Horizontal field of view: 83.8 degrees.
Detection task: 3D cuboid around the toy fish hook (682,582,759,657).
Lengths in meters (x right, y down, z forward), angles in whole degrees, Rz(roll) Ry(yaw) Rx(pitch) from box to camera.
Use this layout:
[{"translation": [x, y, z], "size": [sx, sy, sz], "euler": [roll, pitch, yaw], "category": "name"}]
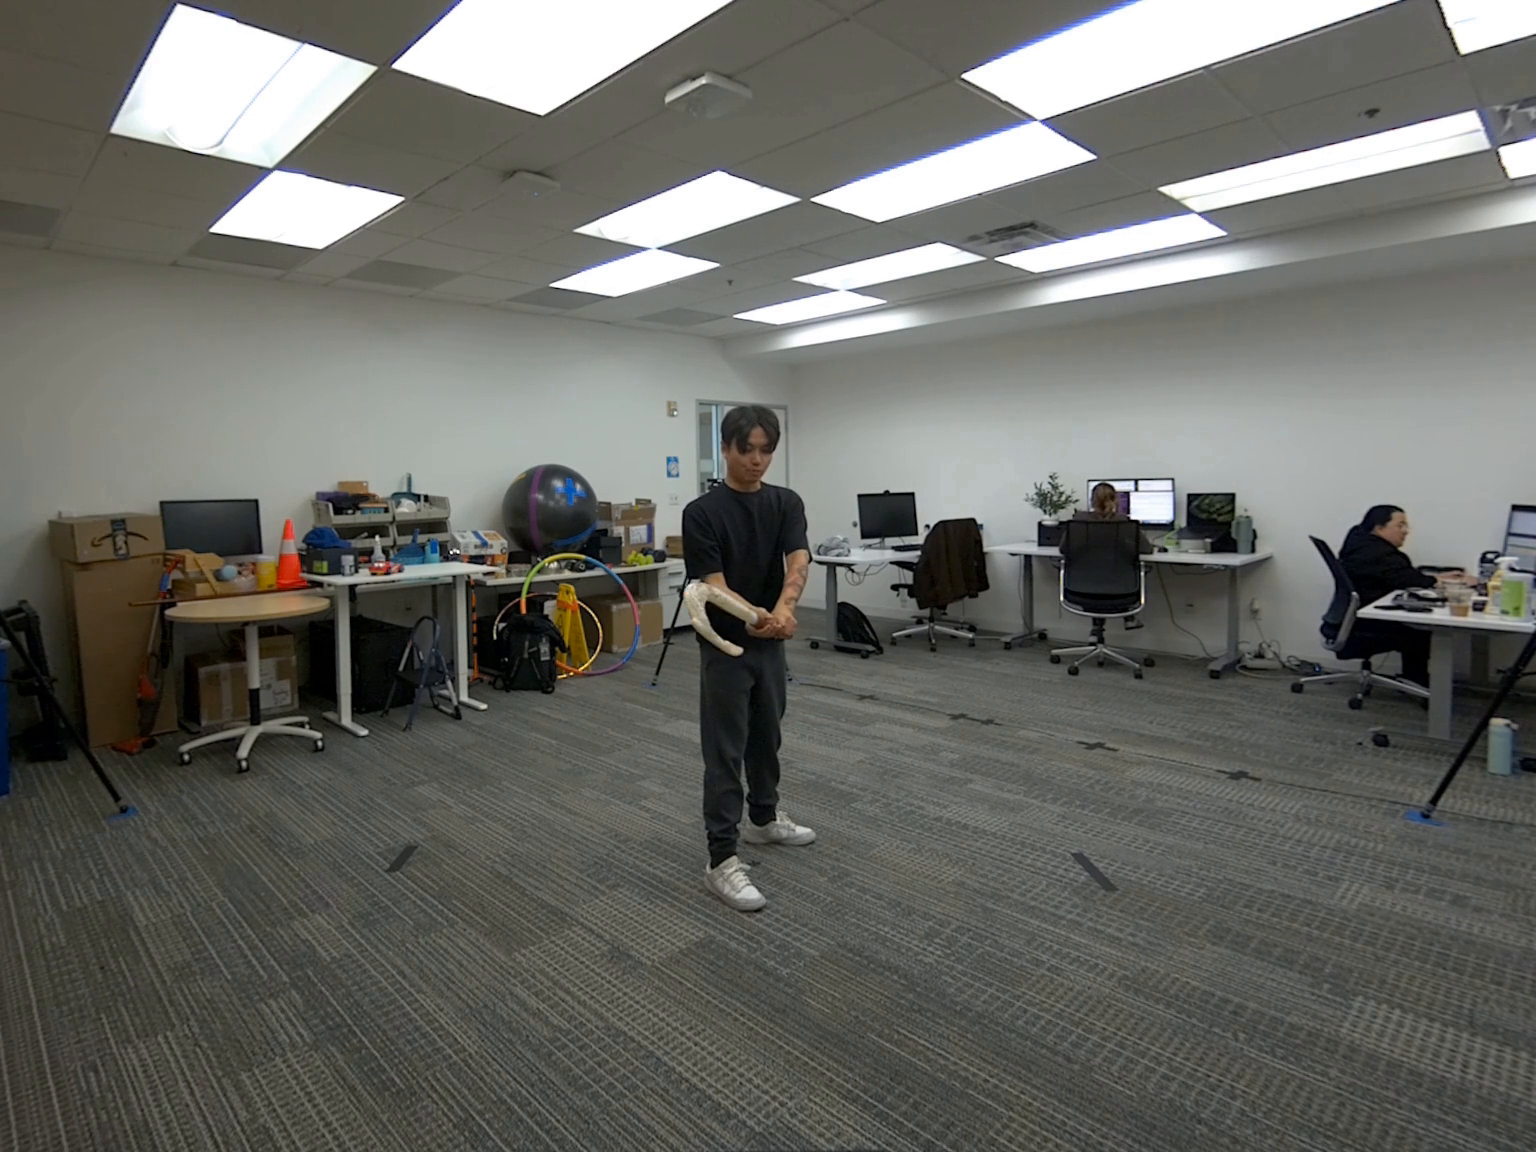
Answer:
[{"translation": [-0.060, 0.160, 2.487], "size": [0.049, 0.231, 0.488], "euler": [-32, -34, 28], "category": "toy fish hook"}]
